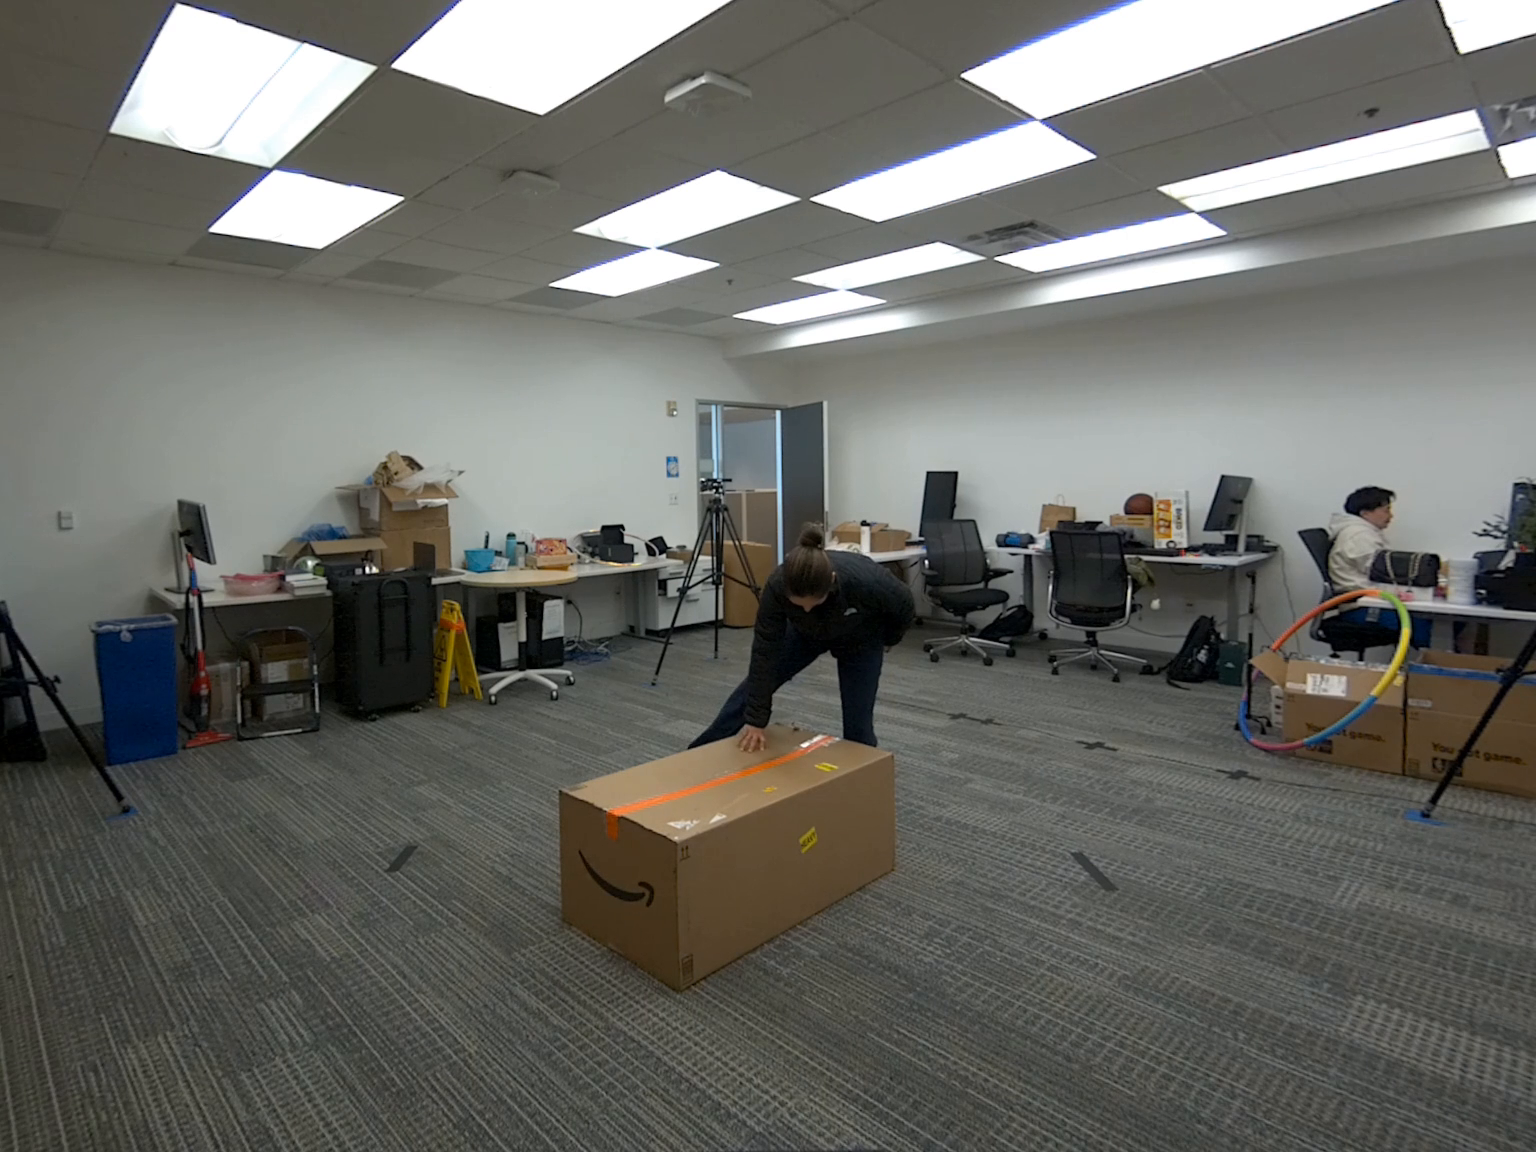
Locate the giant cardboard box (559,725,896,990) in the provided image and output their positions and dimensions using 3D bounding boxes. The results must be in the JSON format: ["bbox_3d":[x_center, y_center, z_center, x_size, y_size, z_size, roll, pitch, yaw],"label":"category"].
[{"bbox_3d":[-0.107,0.864,2.884,0.601,0.445,1.001,2,7,44],"label":"giant cardboard box"}]
